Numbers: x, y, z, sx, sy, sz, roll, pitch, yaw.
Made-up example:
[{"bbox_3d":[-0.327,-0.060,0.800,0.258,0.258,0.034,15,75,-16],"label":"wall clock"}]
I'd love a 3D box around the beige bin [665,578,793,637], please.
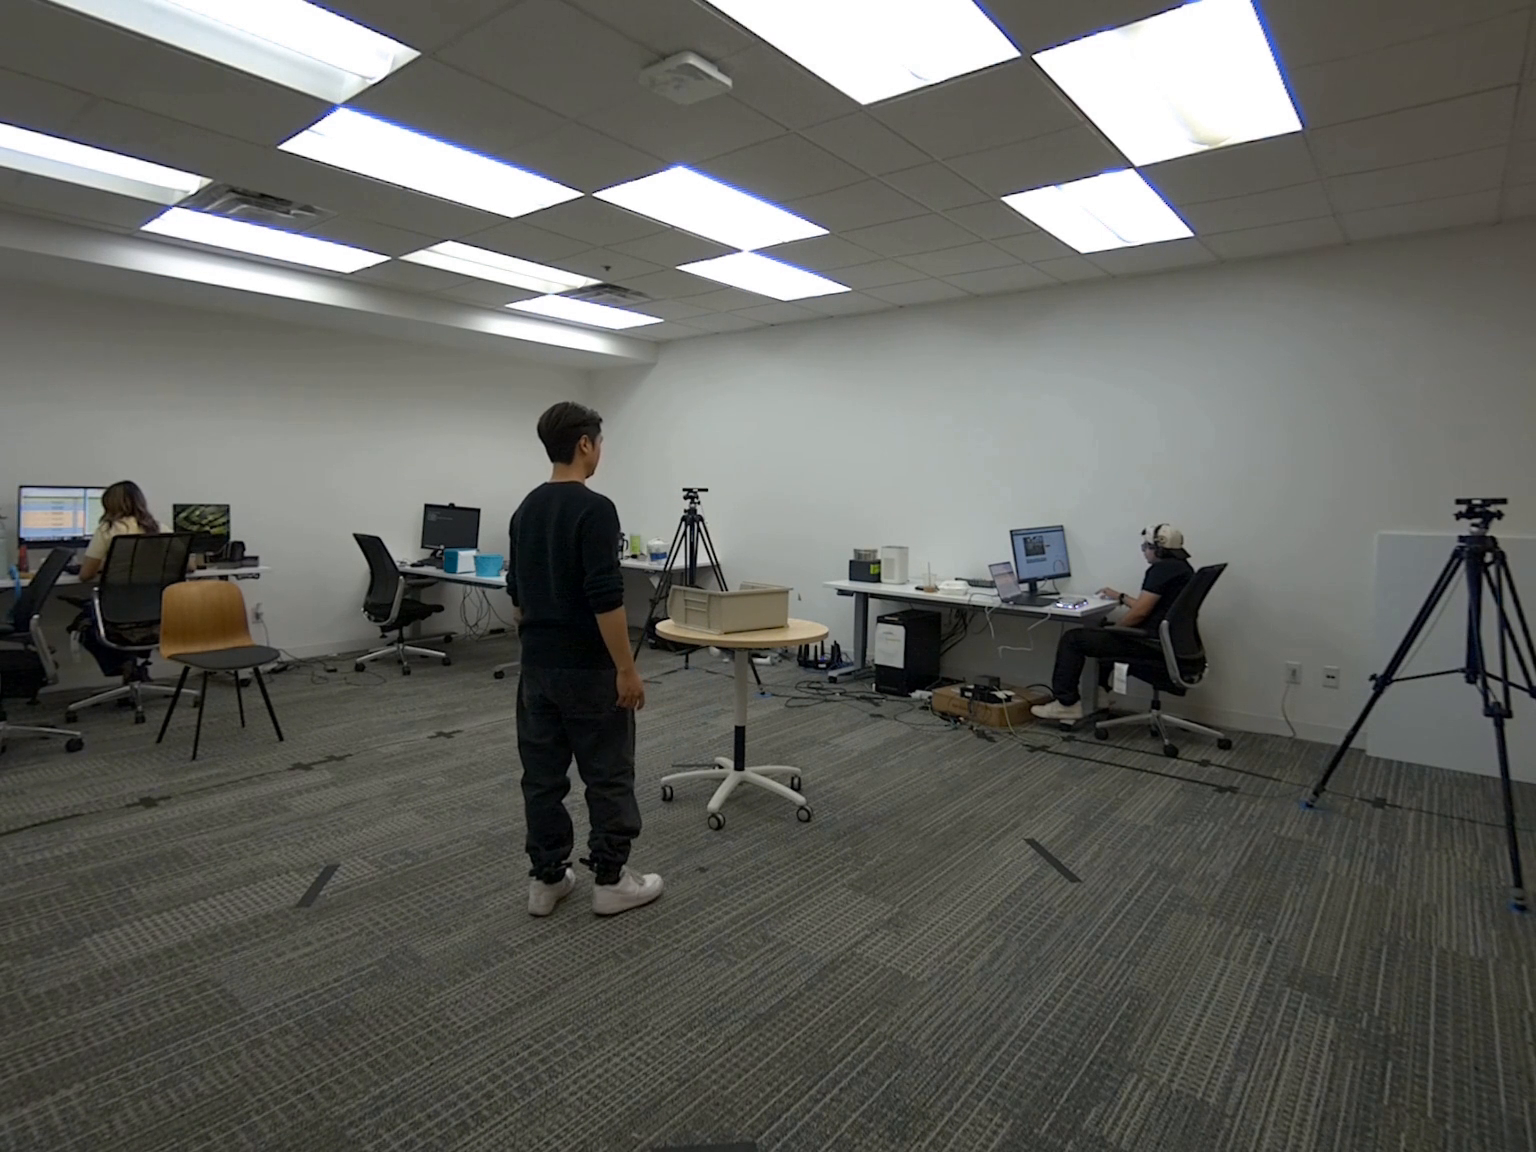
[{"bbox_3d":[-0.179,0.130,3.789,0.409,0.188,0.390,-3,7,-42],"label":"beige bin"}]
